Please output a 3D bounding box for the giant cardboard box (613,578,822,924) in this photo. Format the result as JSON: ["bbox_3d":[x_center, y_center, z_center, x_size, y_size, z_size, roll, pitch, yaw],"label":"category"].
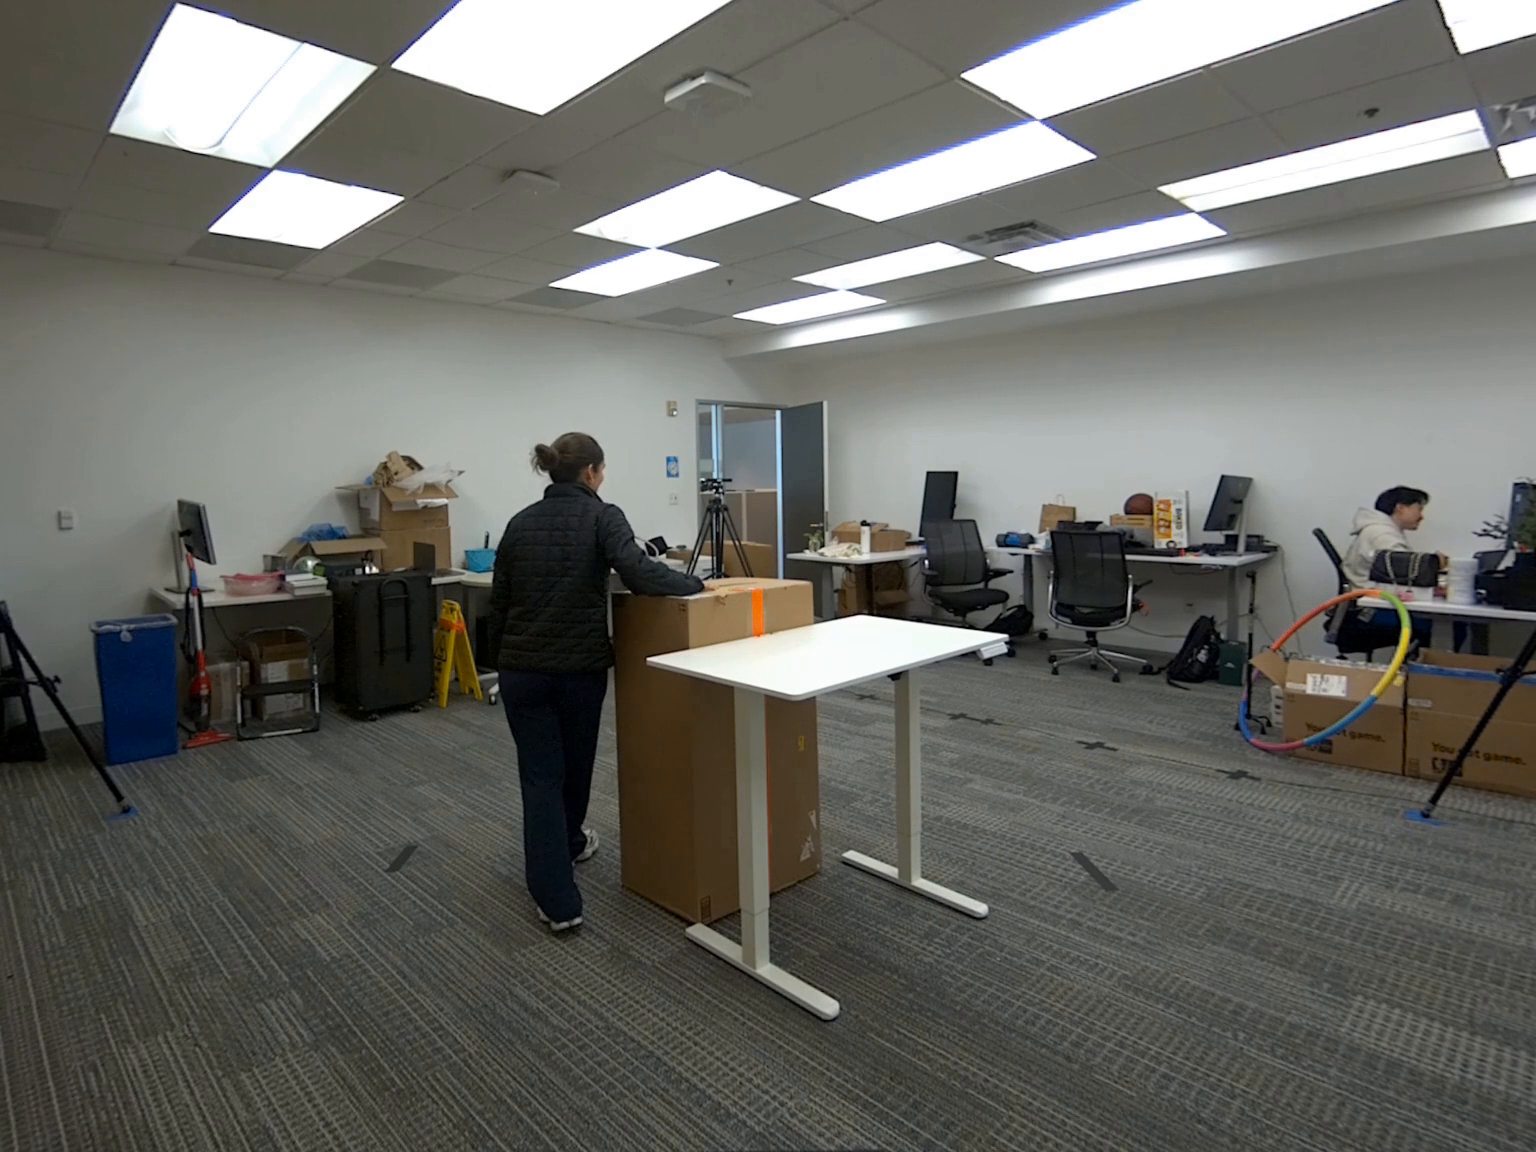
[{"bbox_3d":[-0.171,0.545,2.987,0.568,1.025,0.460,-4,4,-43],"label":"giant cardboard box"}]
